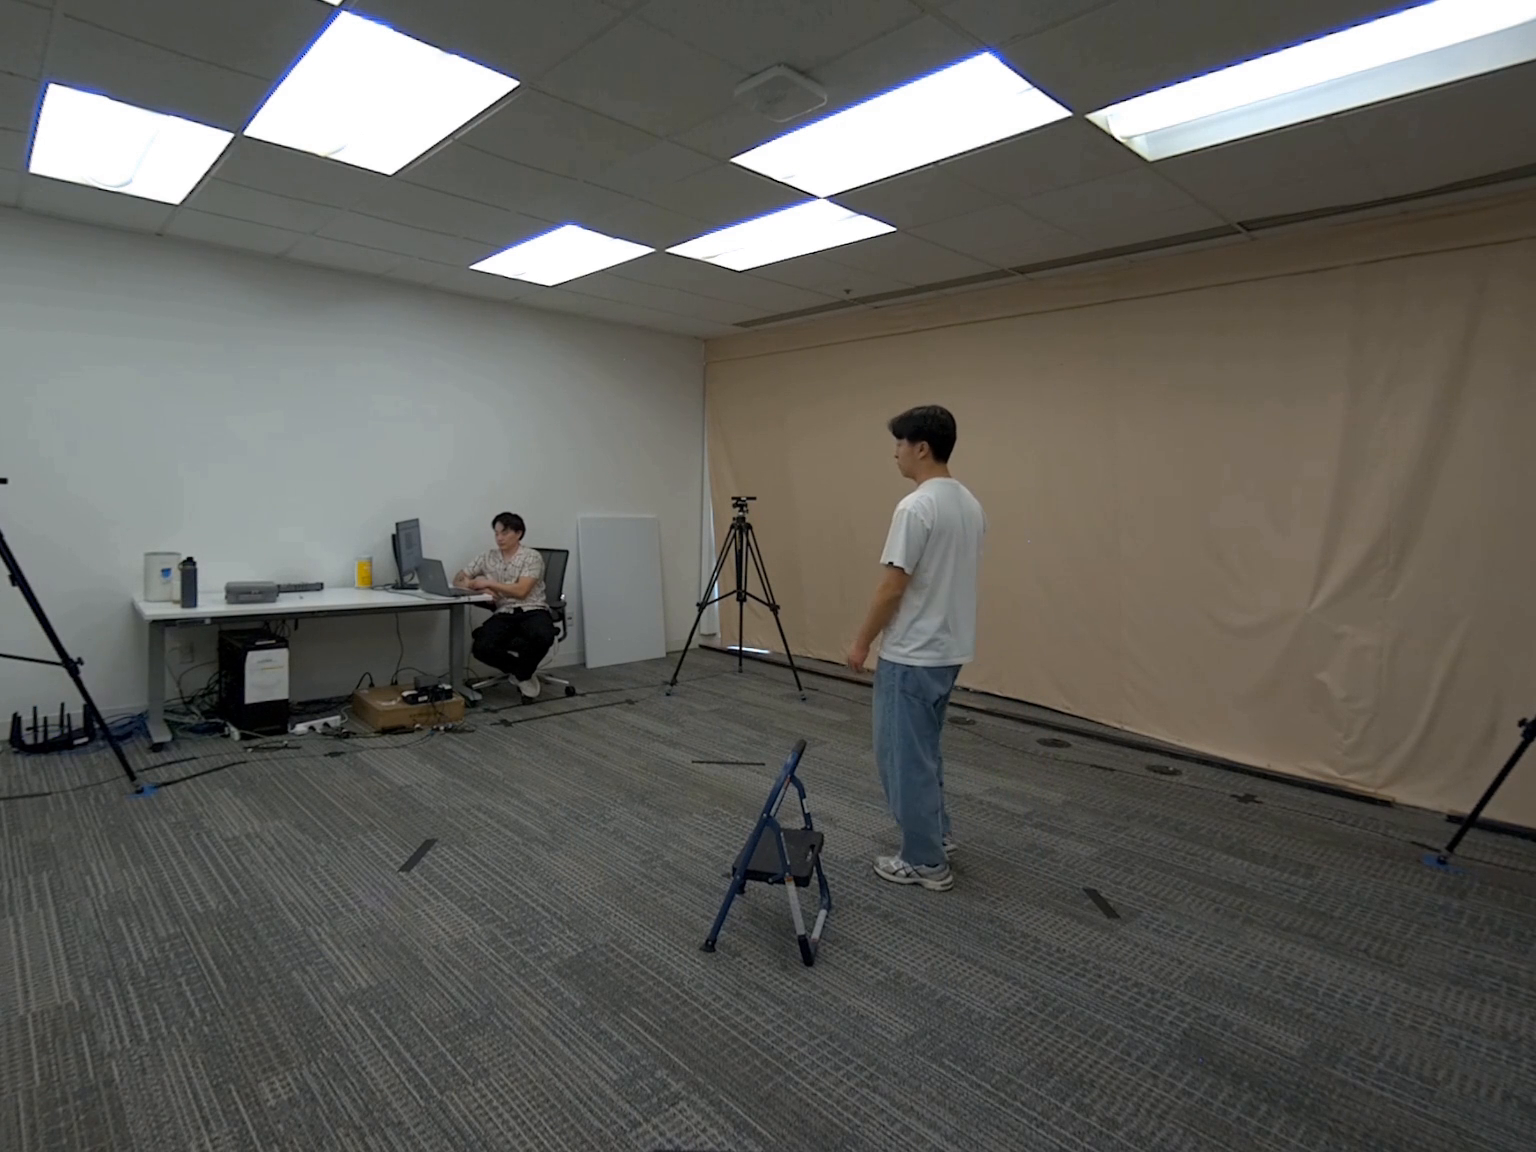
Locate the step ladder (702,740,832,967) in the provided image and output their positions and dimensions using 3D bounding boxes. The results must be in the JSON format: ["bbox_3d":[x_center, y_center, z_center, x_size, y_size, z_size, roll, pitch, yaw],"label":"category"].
[{"bbox_3d":[0.014,0.842,2.723,0.353,0.604,0.427,2,4,12],"label":"step ladder"}]
